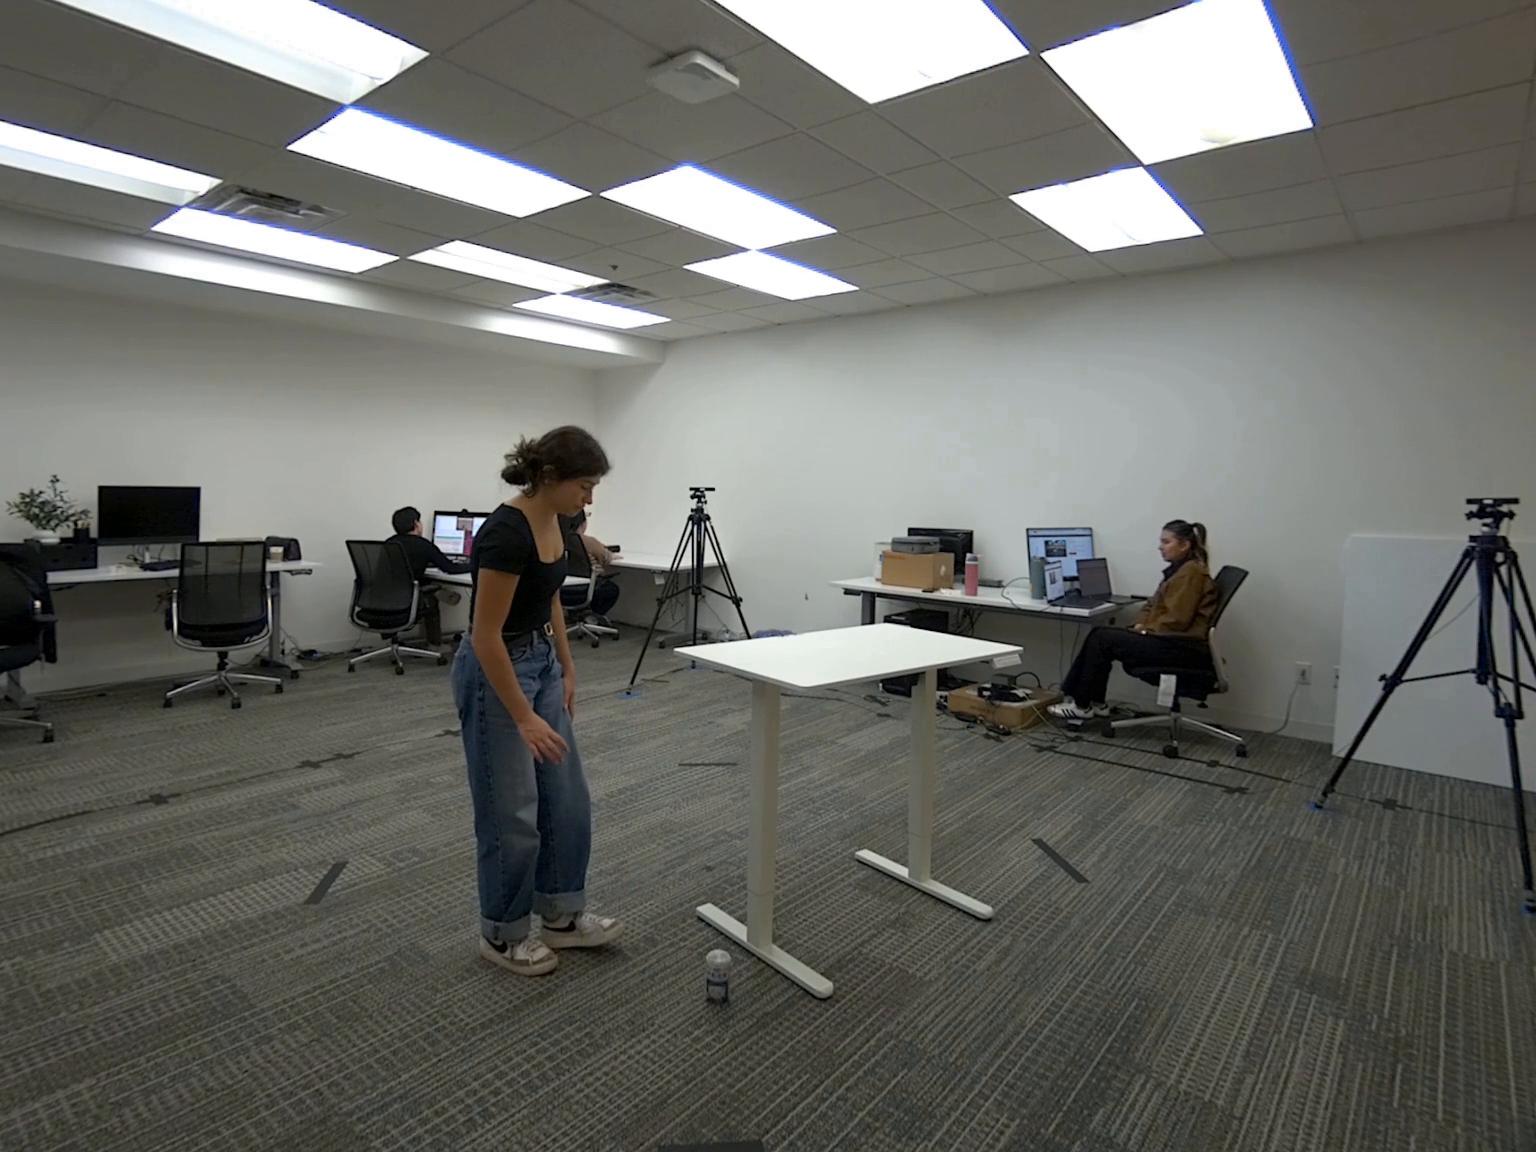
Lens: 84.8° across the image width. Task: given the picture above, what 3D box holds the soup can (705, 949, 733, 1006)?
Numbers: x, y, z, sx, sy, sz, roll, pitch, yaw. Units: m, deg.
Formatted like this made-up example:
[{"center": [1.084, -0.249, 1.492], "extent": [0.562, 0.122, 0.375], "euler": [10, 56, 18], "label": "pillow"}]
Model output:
[{"center": [-0.146, 1.091, 2.311], "extent": [0.067, 0.120, 0.068], "euler": [2, 8, -2], "label": "soup can"}]
